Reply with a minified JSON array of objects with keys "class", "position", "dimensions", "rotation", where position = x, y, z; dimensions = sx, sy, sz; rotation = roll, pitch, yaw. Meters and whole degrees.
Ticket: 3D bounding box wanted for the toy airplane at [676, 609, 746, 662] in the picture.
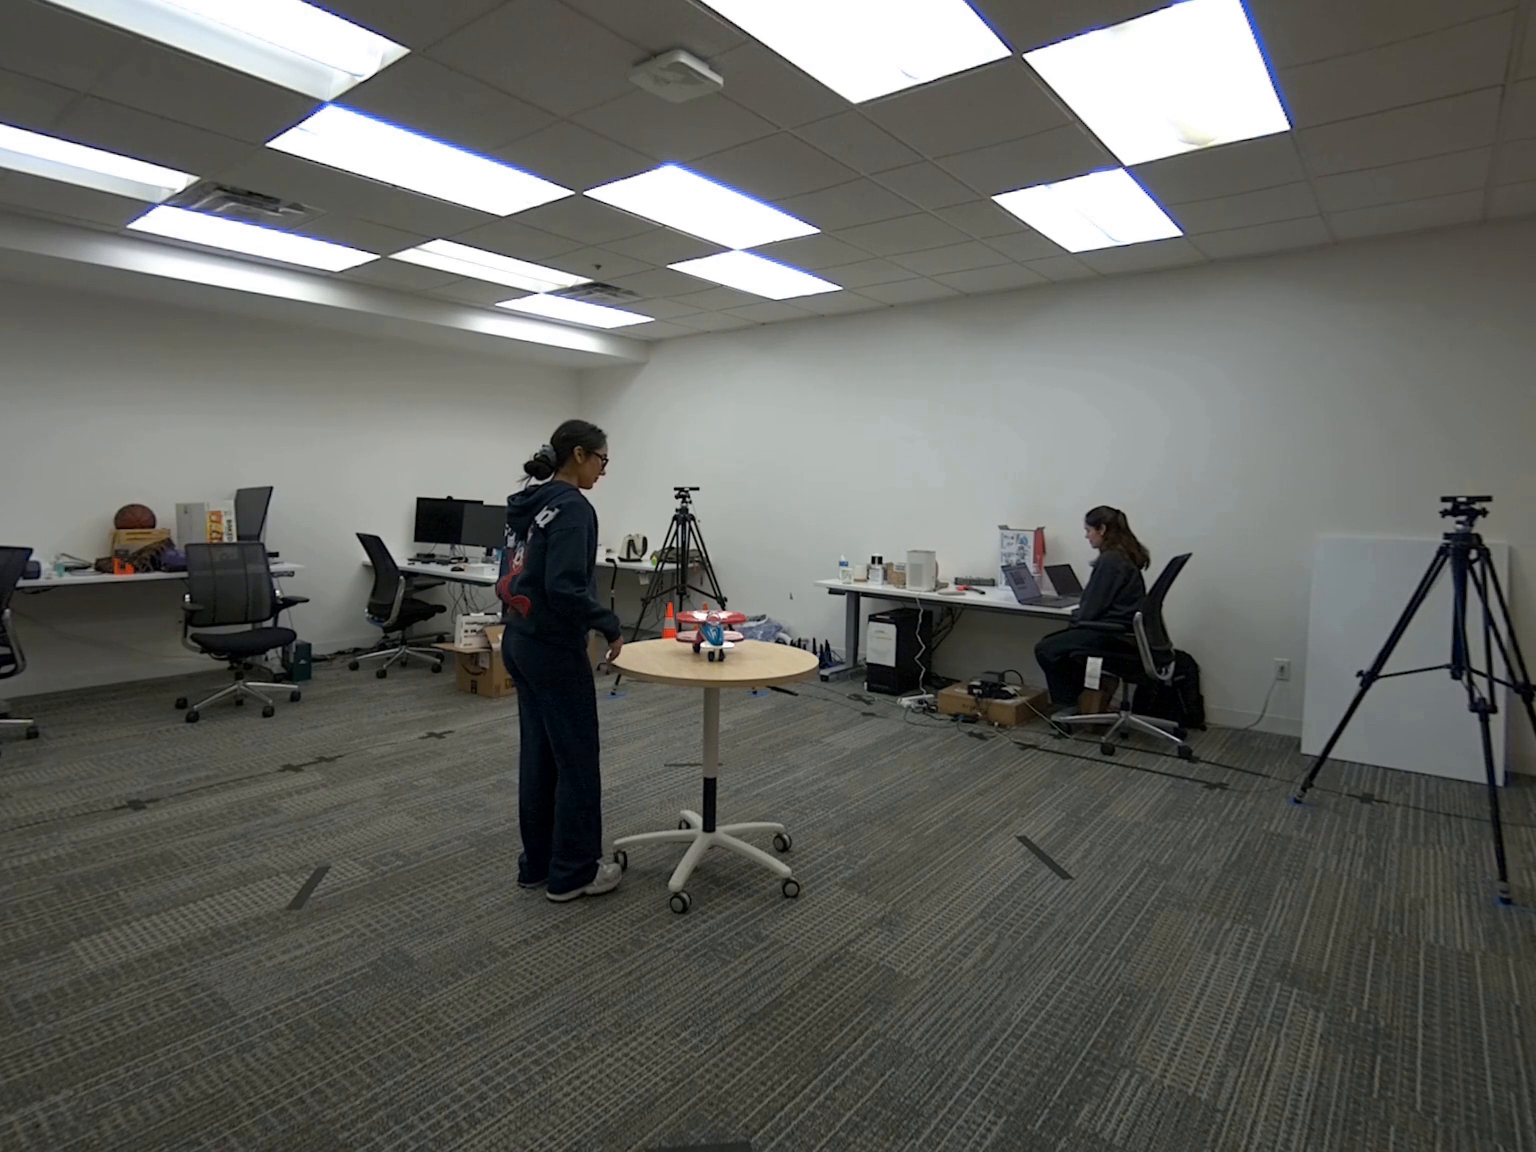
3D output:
[{"class":"toy airplane","position":[-0.197,0.216,3.076],"dimensions":[0.244,0.156,0.268],"rotation":[-2,6,-38]}]
